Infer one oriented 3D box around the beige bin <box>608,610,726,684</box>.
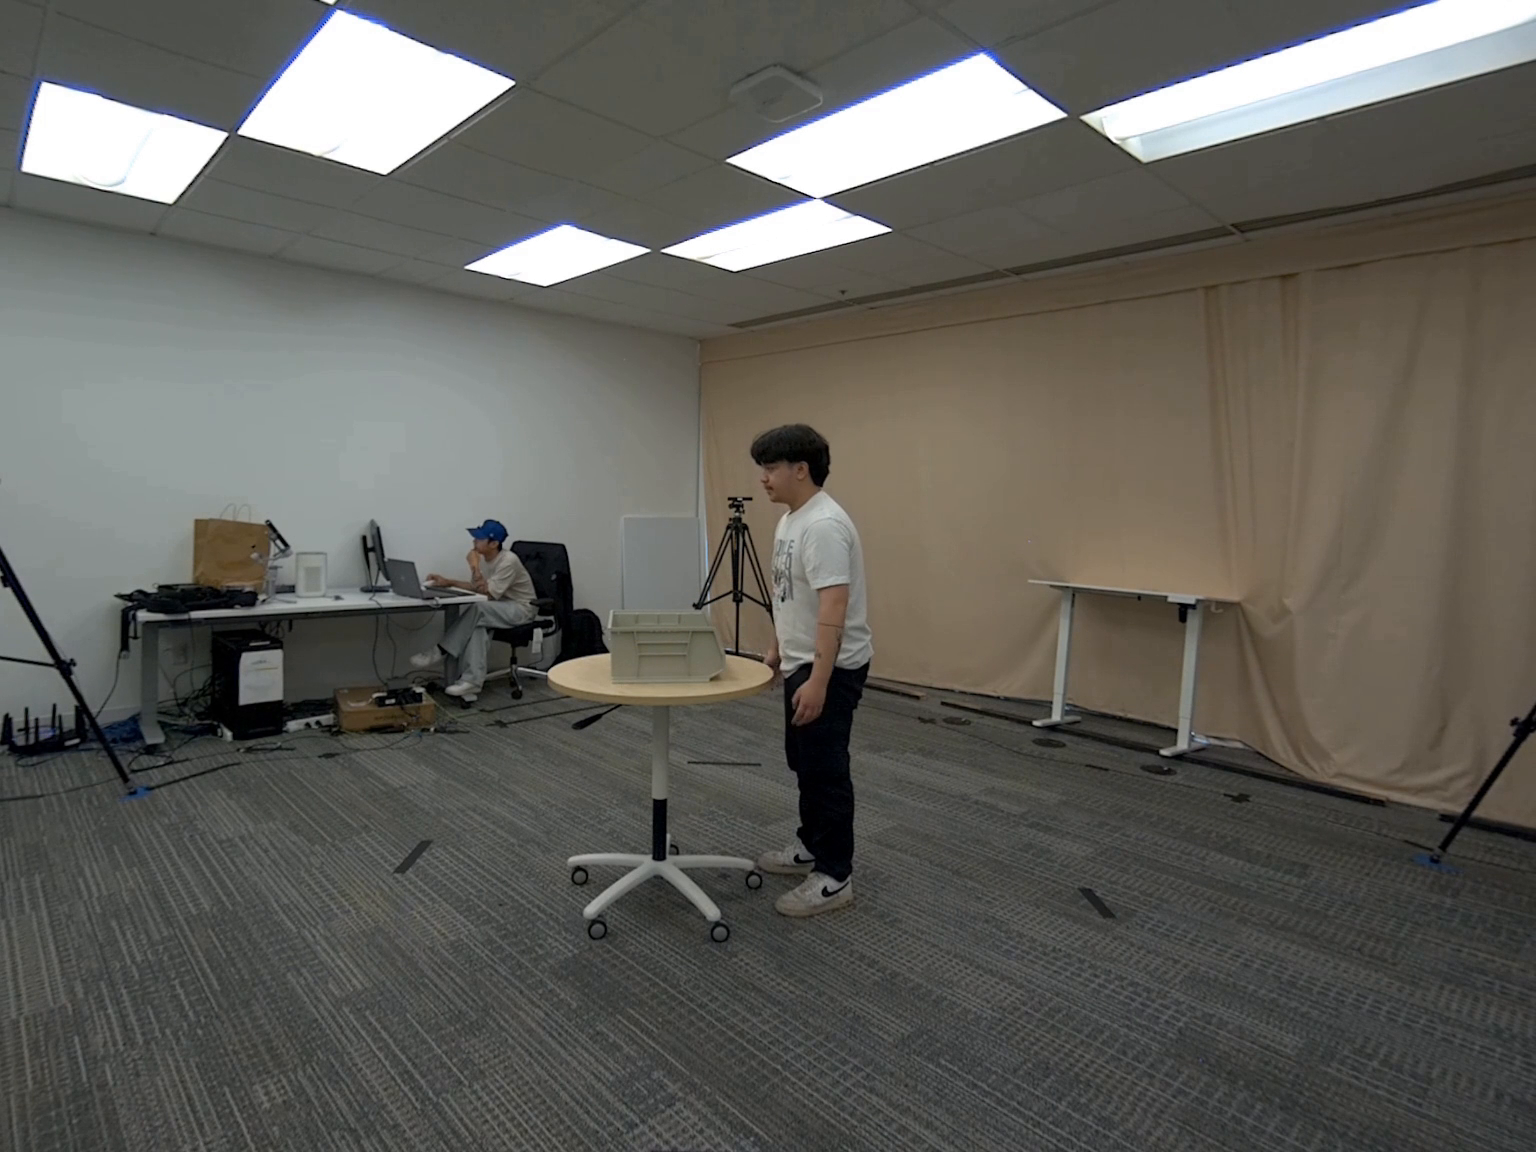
[{"bbox_3d":[-0.355,0.236,2.890,0.375,0.188,0.426,-1,5,-9],"label":"beige bin"}]
